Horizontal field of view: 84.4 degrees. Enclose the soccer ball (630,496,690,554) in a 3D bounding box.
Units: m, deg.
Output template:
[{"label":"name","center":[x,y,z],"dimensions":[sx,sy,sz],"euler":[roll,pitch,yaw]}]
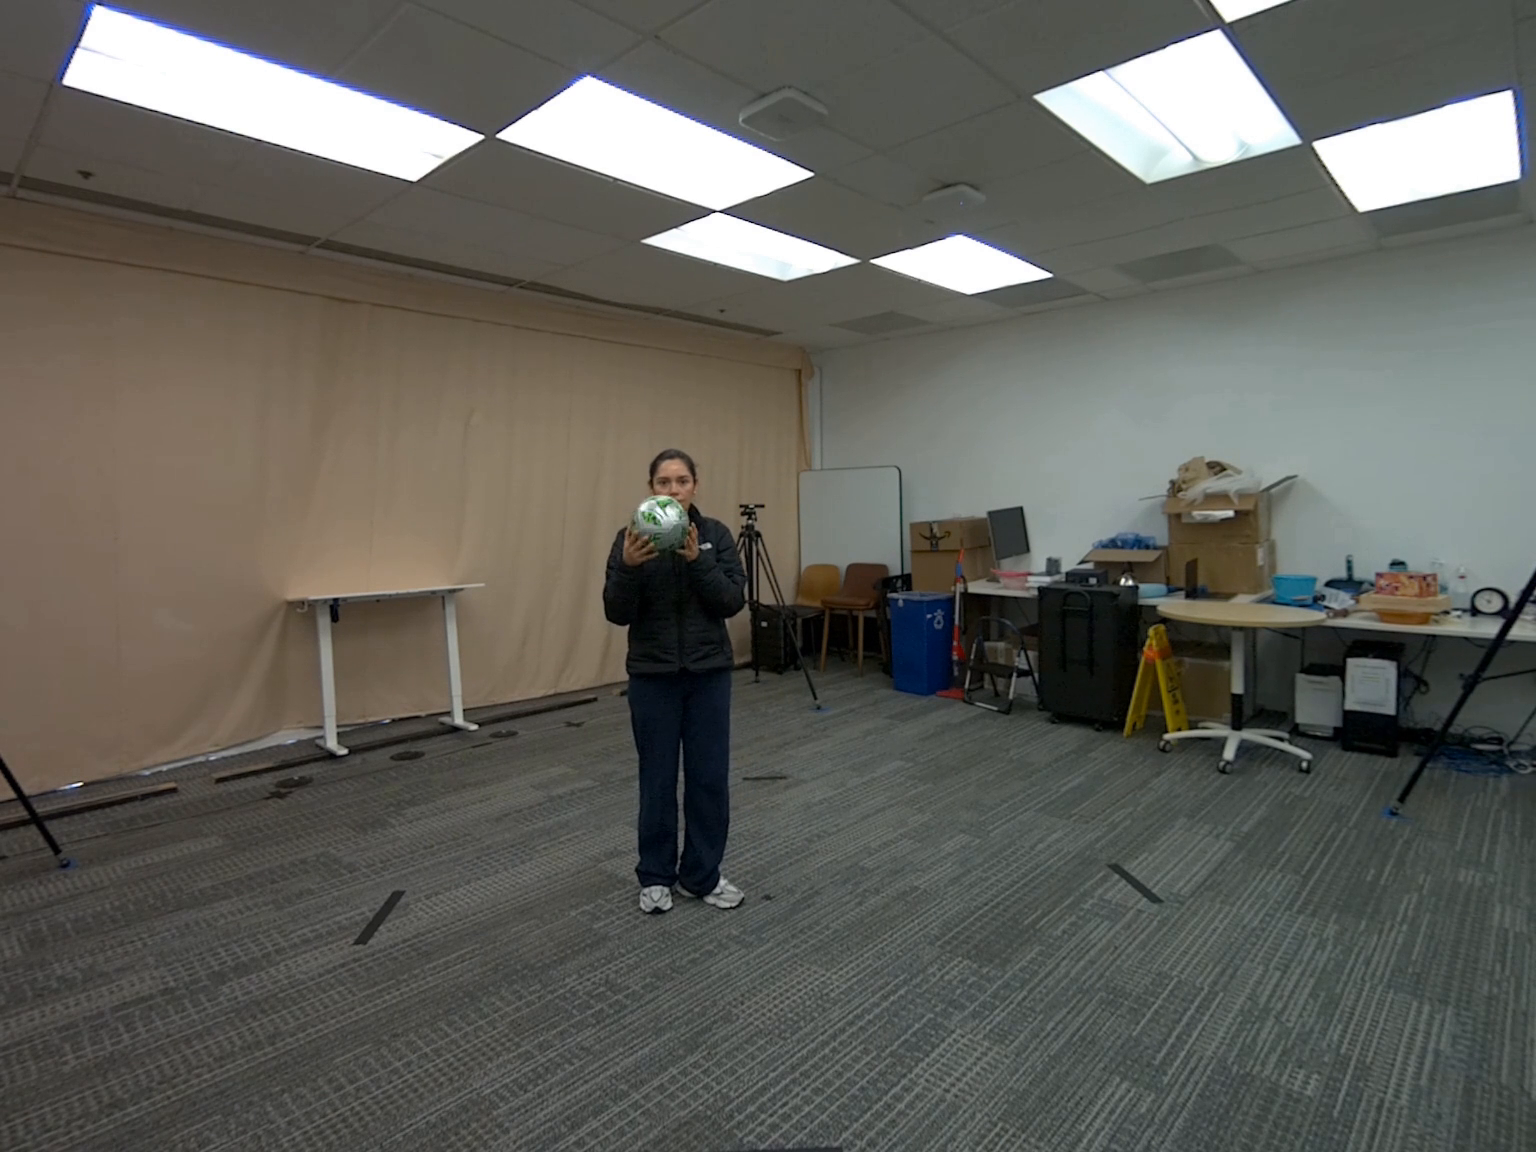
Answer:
[{"label":"soccer ball","center":[-0.338,-0.150,2.666],"dimensions":[0.187,0.187,0.188],"euler":[-1,4,-2]}]
